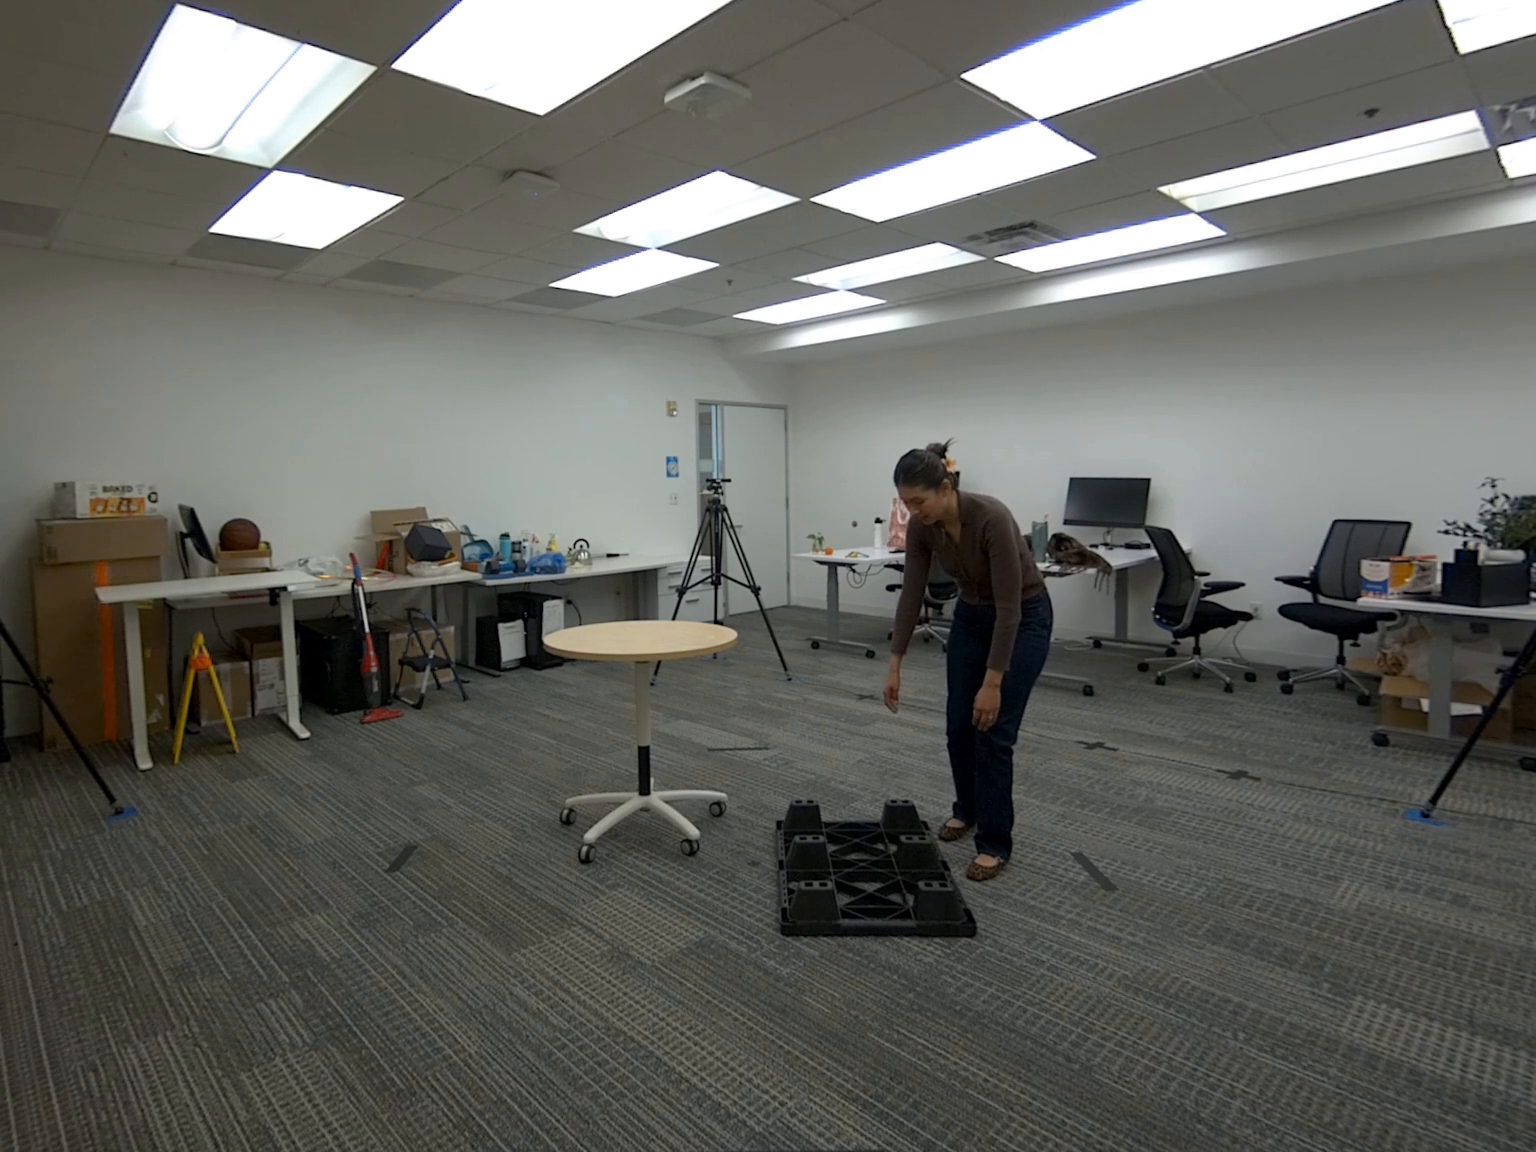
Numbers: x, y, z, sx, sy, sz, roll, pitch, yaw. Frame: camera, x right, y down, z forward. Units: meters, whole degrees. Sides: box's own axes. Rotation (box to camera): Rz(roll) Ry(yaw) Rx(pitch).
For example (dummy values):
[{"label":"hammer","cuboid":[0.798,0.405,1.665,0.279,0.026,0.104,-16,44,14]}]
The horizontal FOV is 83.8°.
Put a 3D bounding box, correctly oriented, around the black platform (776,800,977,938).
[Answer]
[{"label":"black platform","cuboid":[0.337,0.984,2.981,0.606,0.142,0.809,-1,7,0]}]
